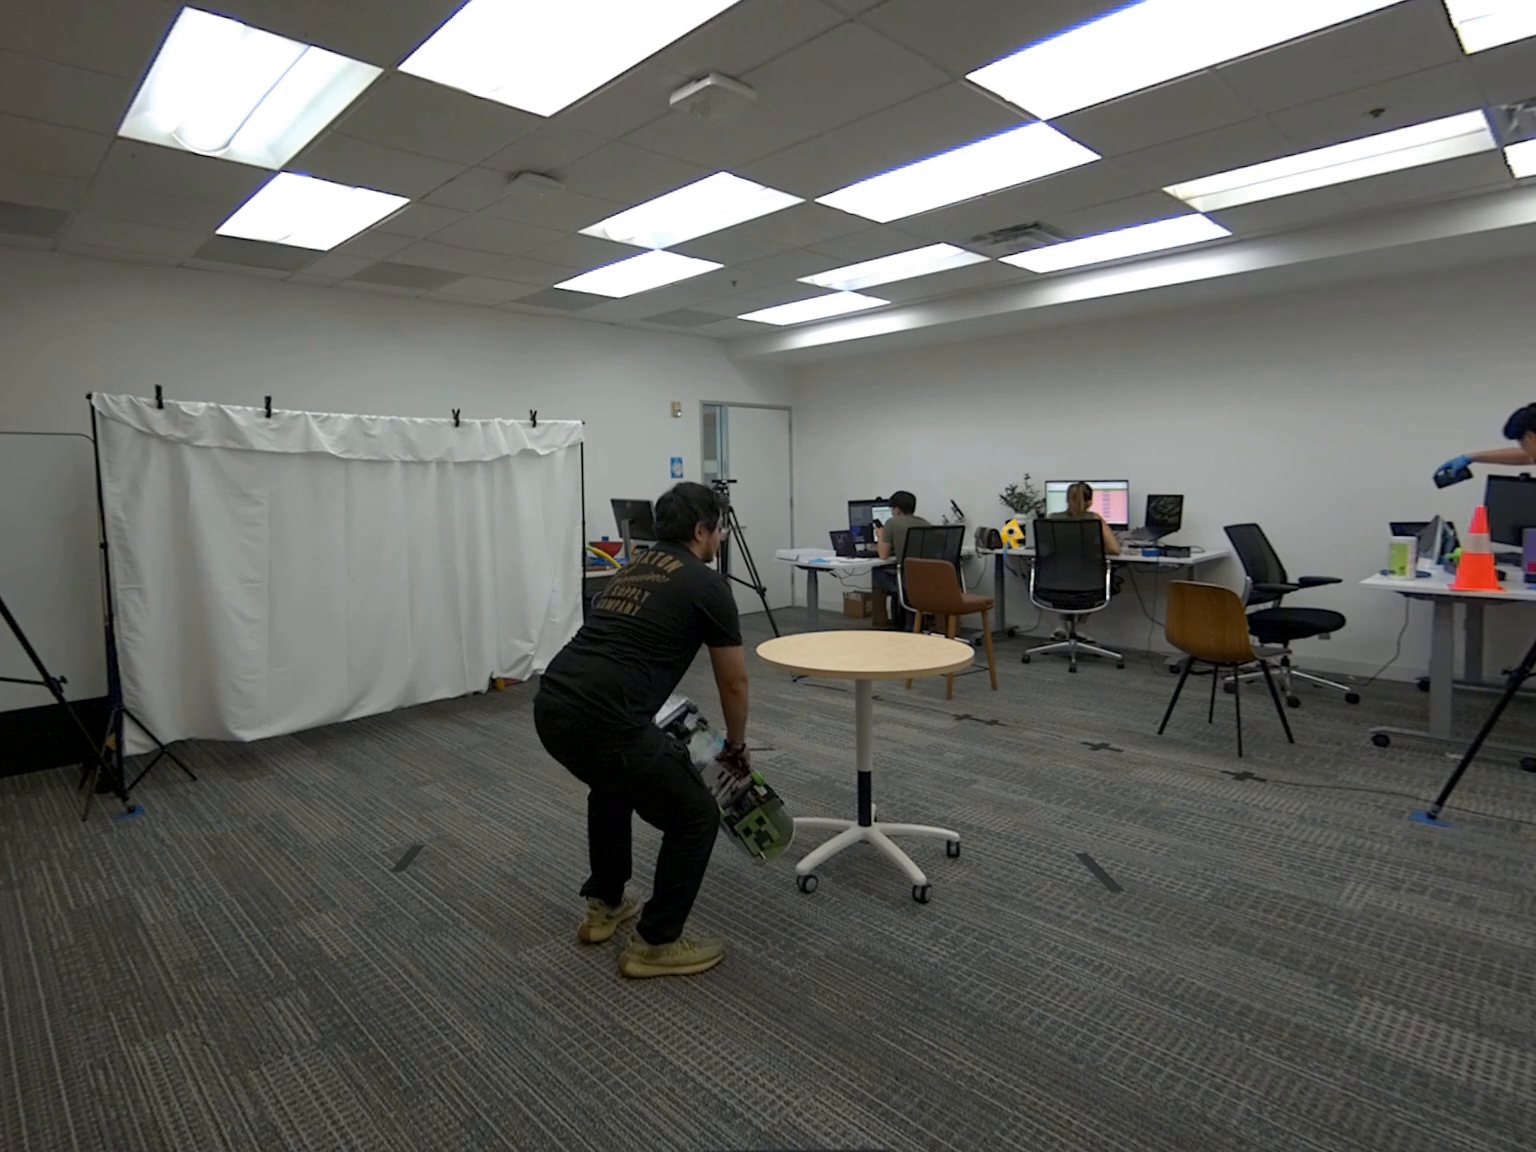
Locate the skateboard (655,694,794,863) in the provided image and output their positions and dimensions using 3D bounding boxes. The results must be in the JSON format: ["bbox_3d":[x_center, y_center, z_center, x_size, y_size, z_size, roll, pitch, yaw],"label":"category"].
[{"bbox_3d":[-0.185,0.594,2.722,0.193,0.106,0.817,-37,41,-13],"label":"skateboard"}]
